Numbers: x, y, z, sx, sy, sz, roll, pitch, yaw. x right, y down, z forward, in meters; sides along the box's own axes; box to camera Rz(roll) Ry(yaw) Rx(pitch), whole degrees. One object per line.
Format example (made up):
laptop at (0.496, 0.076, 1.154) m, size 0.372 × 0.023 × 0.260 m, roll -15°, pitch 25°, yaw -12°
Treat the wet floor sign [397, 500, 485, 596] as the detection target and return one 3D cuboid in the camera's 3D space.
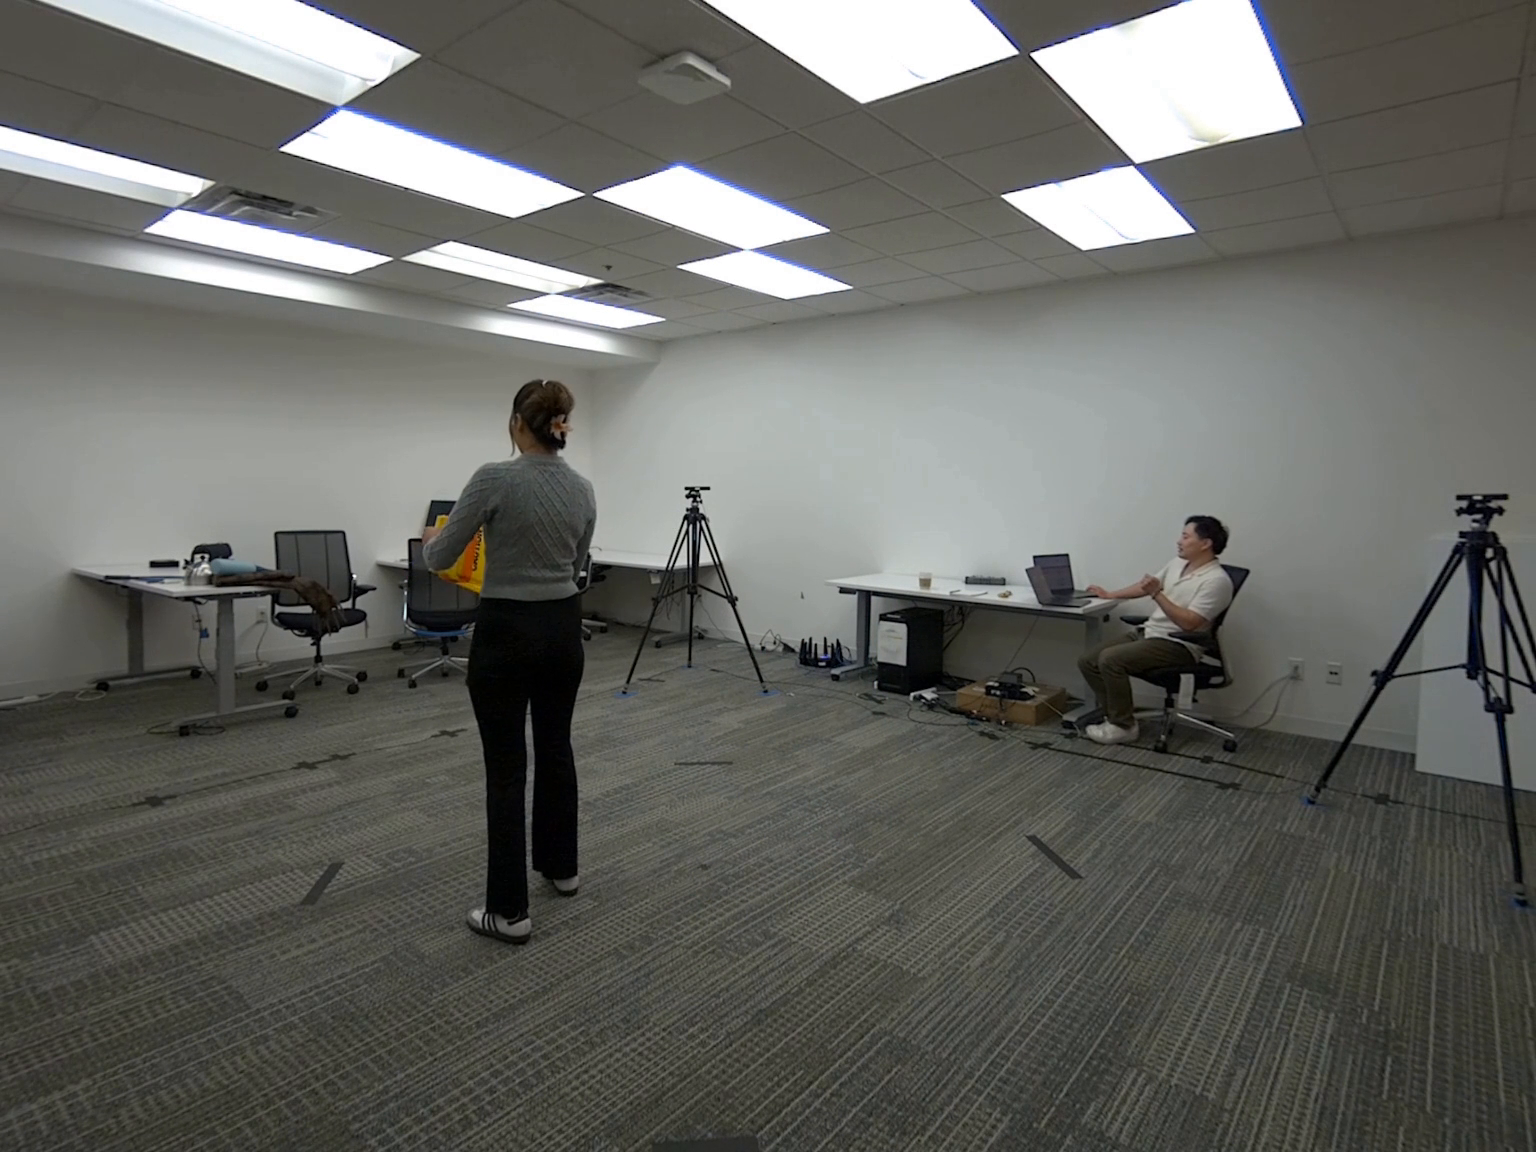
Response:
wet floor sign at (-1.070, -0.077, 3.197) m, size 0.294 × 0.284 × 0.632 m, roll 4°, pitch -7°, yaw 12°
